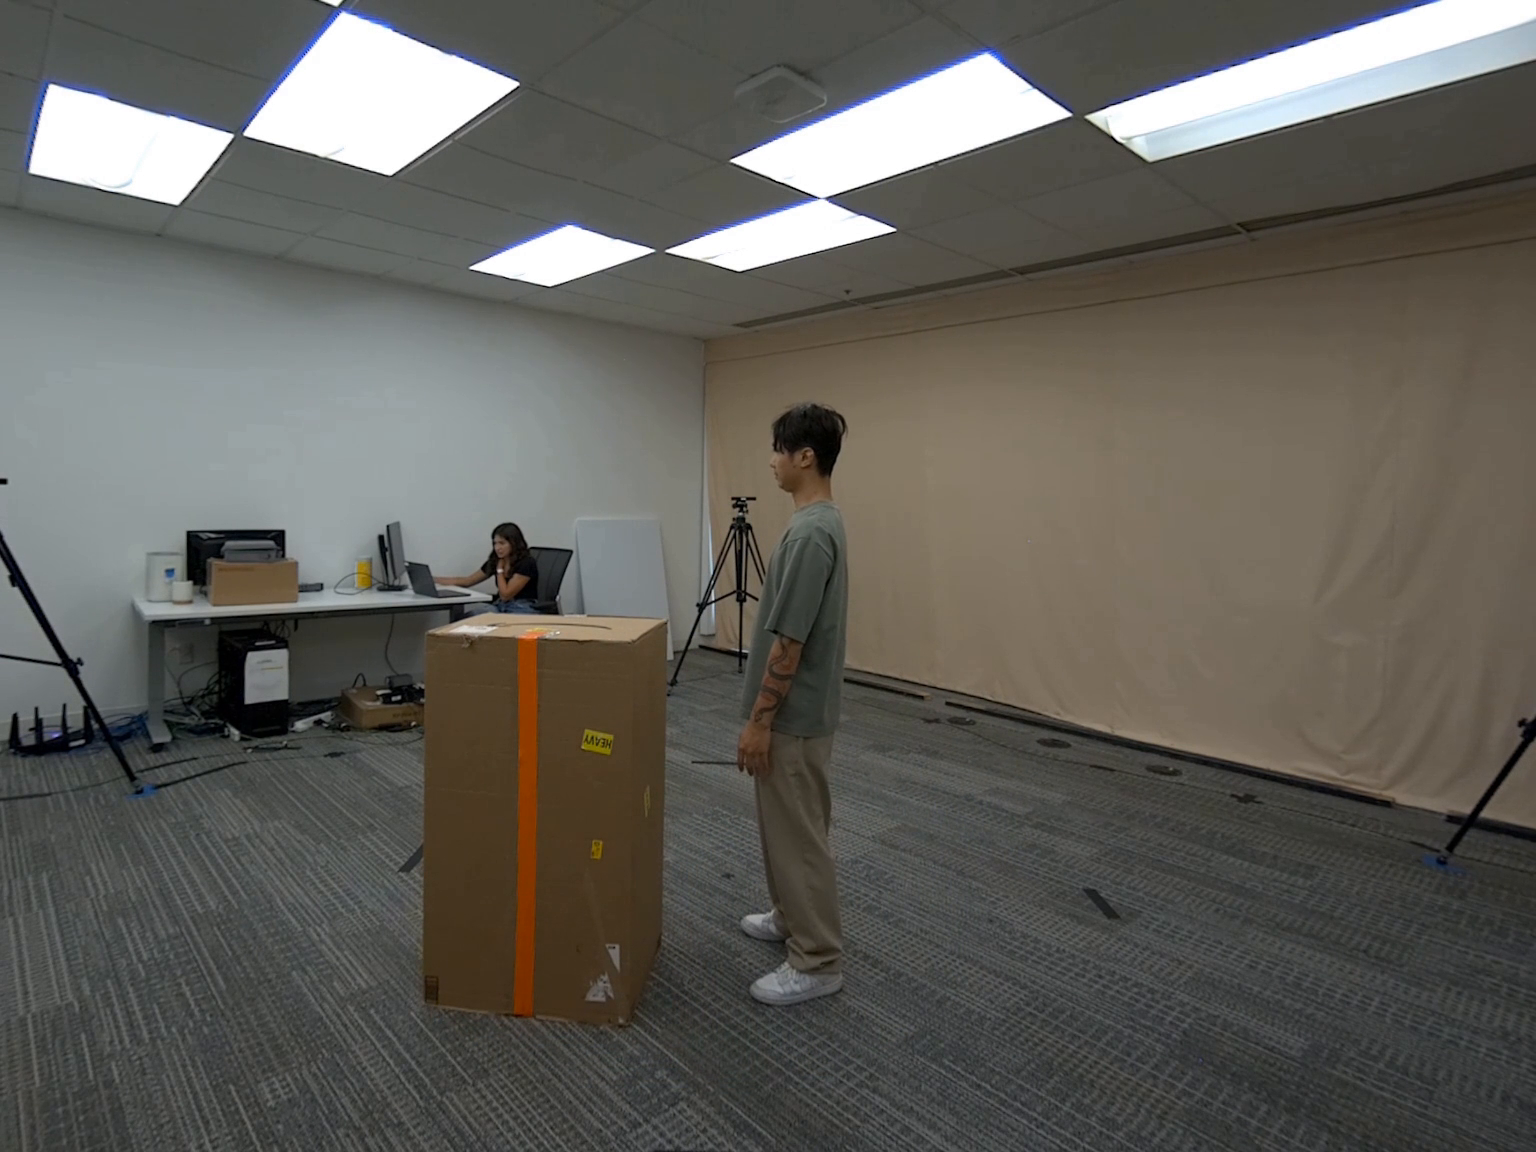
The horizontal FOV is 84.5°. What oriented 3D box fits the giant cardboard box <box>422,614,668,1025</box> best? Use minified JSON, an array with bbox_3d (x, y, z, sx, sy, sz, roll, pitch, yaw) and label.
[{"bbox_3d":[-0.625,0.647,2.420,0.581,1.024,0.424,2,3,7],"label":"giant cardboard box"}]
